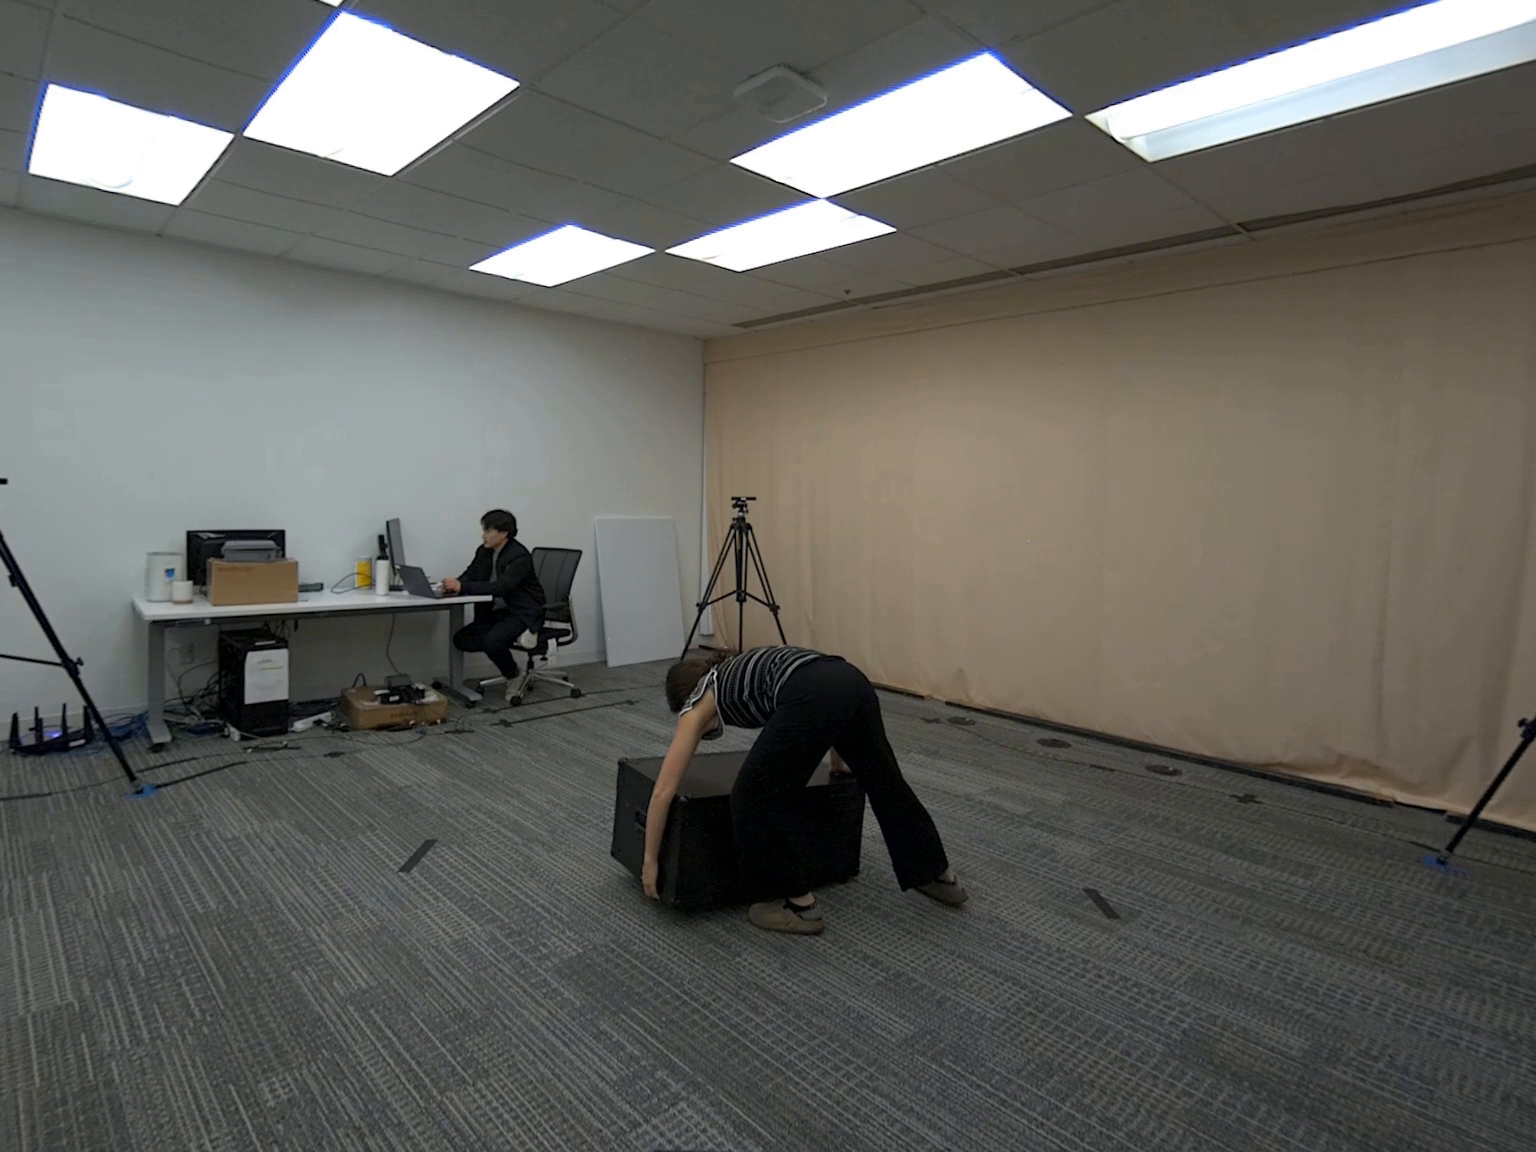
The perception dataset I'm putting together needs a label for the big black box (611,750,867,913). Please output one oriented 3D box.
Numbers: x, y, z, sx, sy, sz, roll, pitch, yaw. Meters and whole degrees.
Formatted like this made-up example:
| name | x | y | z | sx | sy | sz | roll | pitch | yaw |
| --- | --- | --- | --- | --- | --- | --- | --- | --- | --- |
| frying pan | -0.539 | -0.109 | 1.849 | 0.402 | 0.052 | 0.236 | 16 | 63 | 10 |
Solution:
| name | x | y | z | sx | sy | sz | roll | pitch | yaw |
| --- | --- | --- | --- | --- | --- | --- | --- | --- | --- |
| big black box | -0.090 | 0.897 | 3.101 | 0.842 | 0.396 | 0.533 | 3 | 2 | -33 |
